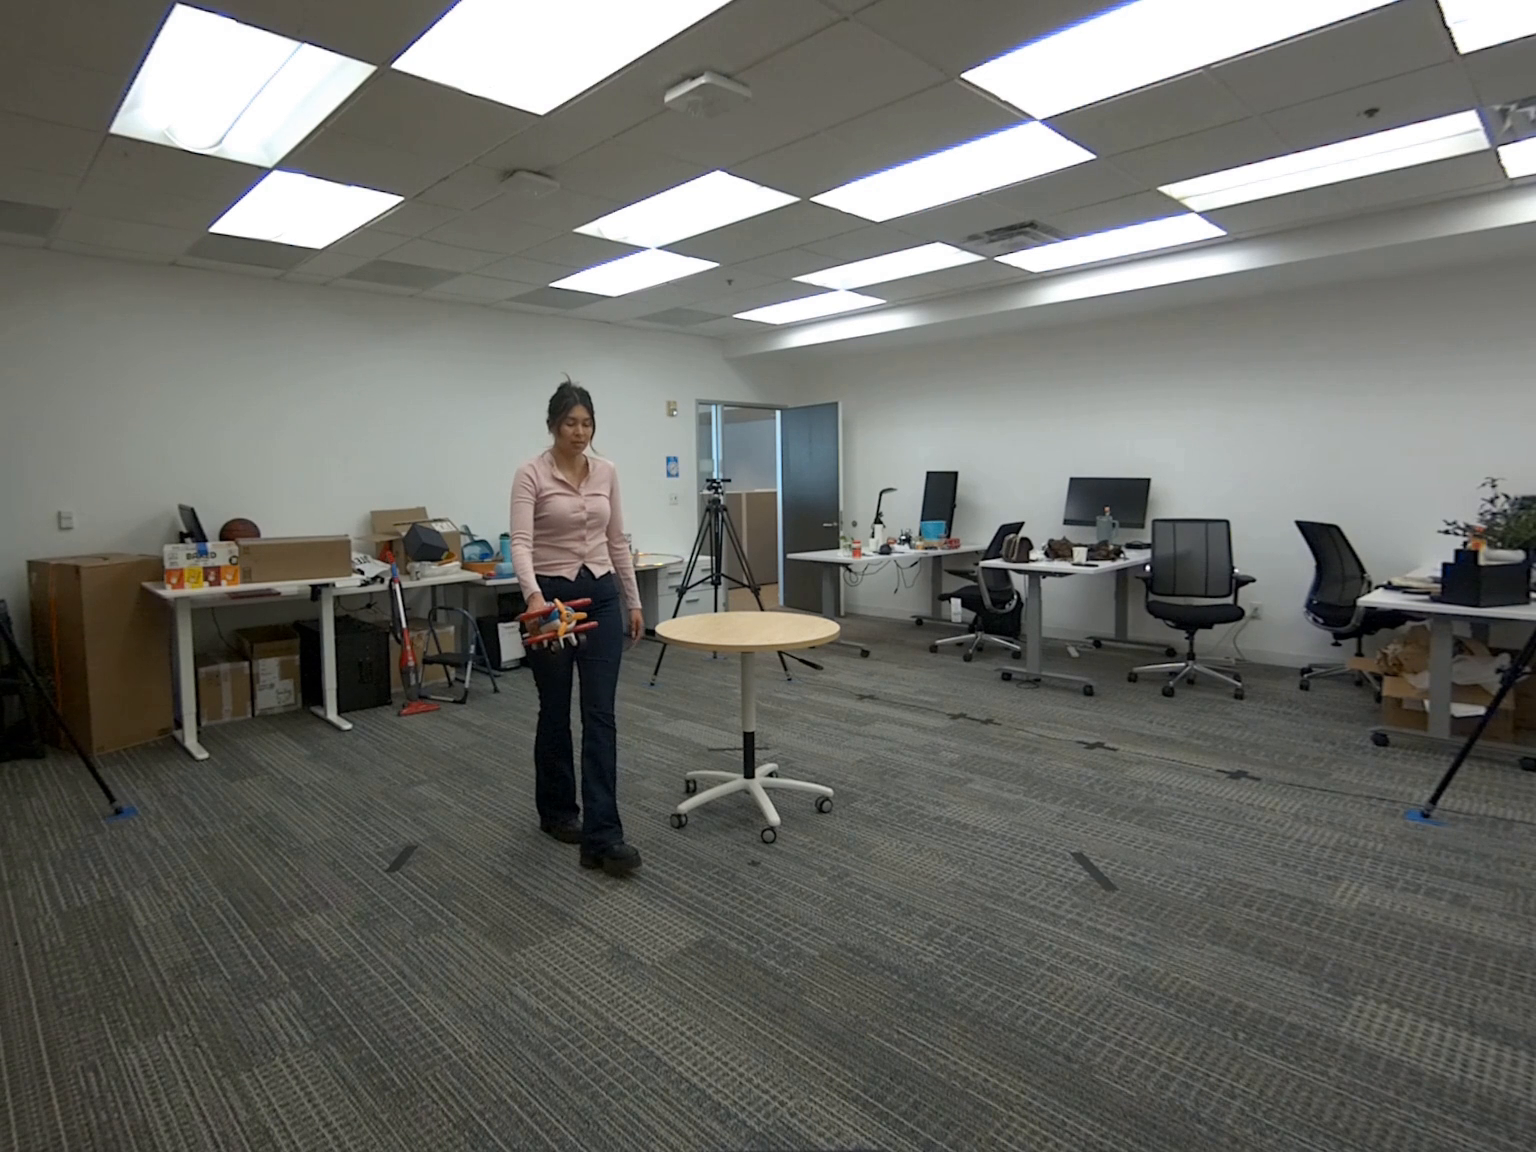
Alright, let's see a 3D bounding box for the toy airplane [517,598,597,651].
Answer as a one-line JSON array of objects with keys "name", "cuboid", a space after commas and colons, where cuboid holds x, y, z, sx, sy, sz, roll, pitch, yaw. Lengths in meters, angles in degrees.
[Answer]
[{"name": "toy airplane", "cuboid": [-0.709, 0.169, 2.746, 0.265, 0.155, 0.248, -1, 11, 23]}]
